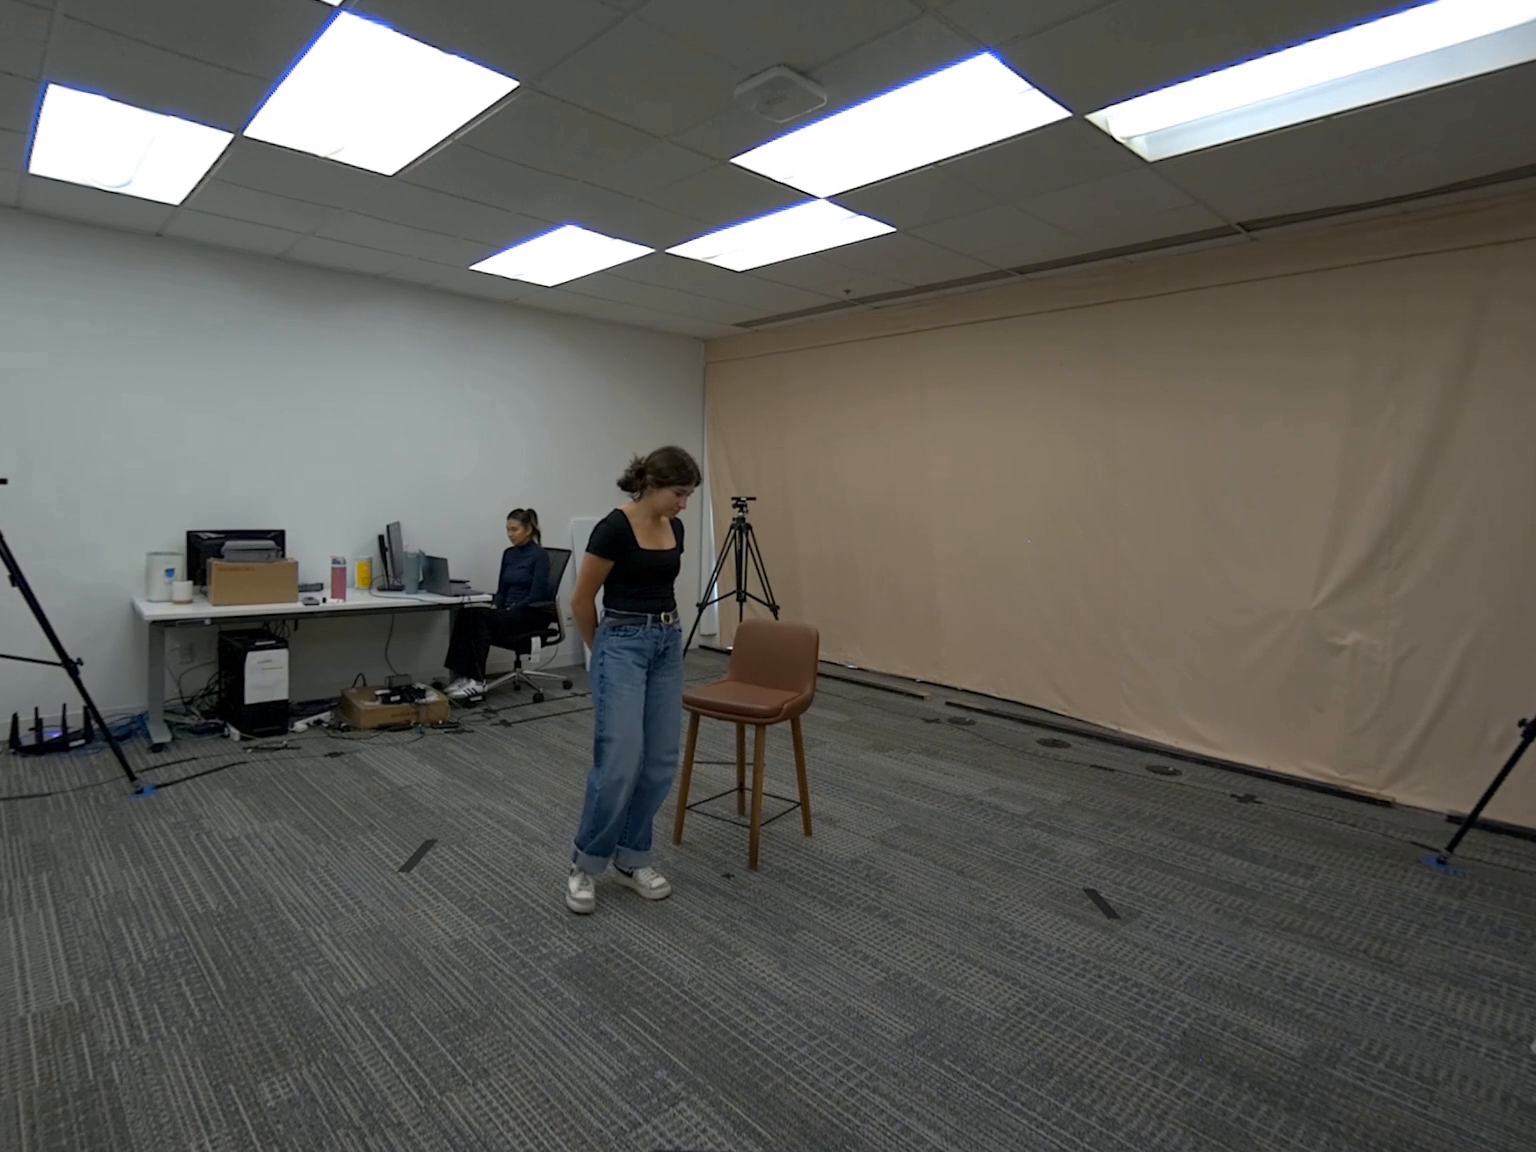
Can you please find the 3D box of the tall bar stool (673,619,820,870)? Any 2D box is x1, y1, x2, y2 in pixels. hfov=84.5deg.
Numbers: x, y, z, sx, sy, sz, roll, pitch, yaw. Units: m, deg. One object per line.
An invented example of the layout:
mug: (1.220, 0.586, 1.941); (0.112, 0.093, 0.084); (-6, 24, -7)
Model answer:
tall bar stool: (-0.083, 0.645, 3.427); (0.467, 0.889, 0.457); (4, 2, 36)
